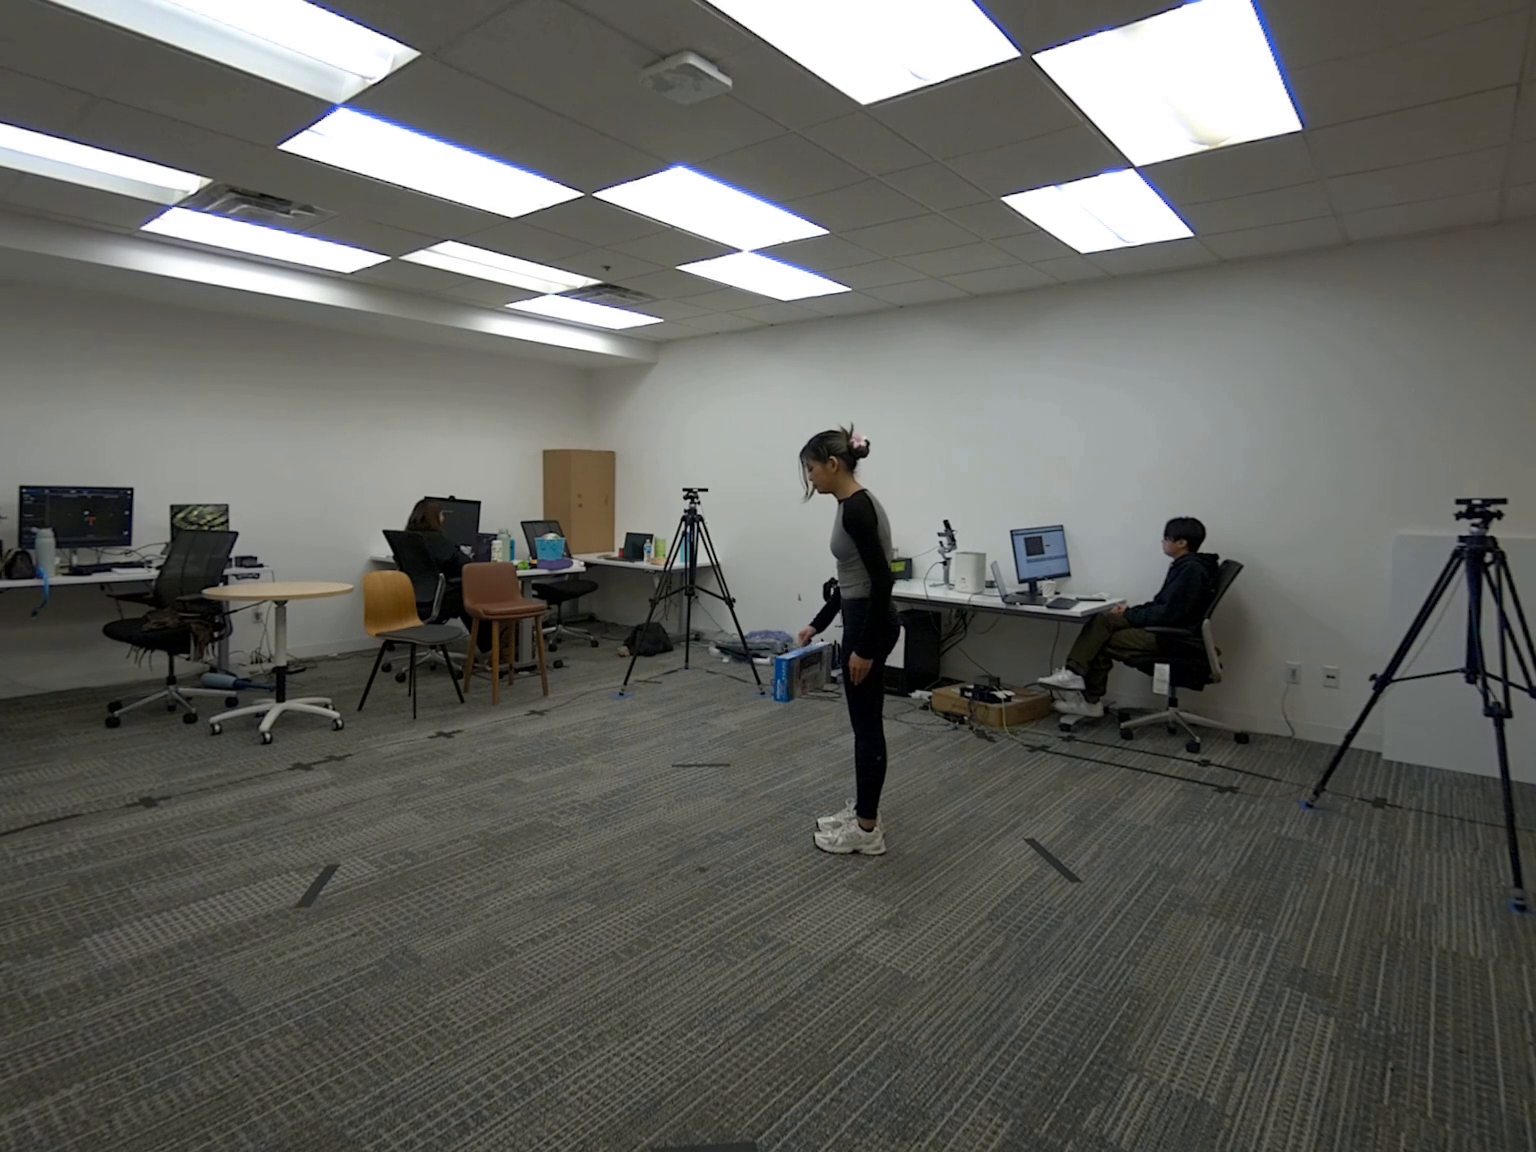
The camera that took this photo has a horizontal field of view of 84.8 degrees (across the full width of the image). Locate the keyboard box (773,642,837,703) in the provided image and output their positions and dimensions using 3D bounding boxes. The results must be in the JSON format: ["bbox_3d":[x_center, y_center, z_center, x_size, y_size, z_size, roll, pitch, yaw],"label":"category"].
[{"bbox_3d":[0.141,0.389,3.476,0.061,0.175,0.426,4,6,27],"label":"keyboard box"}]
